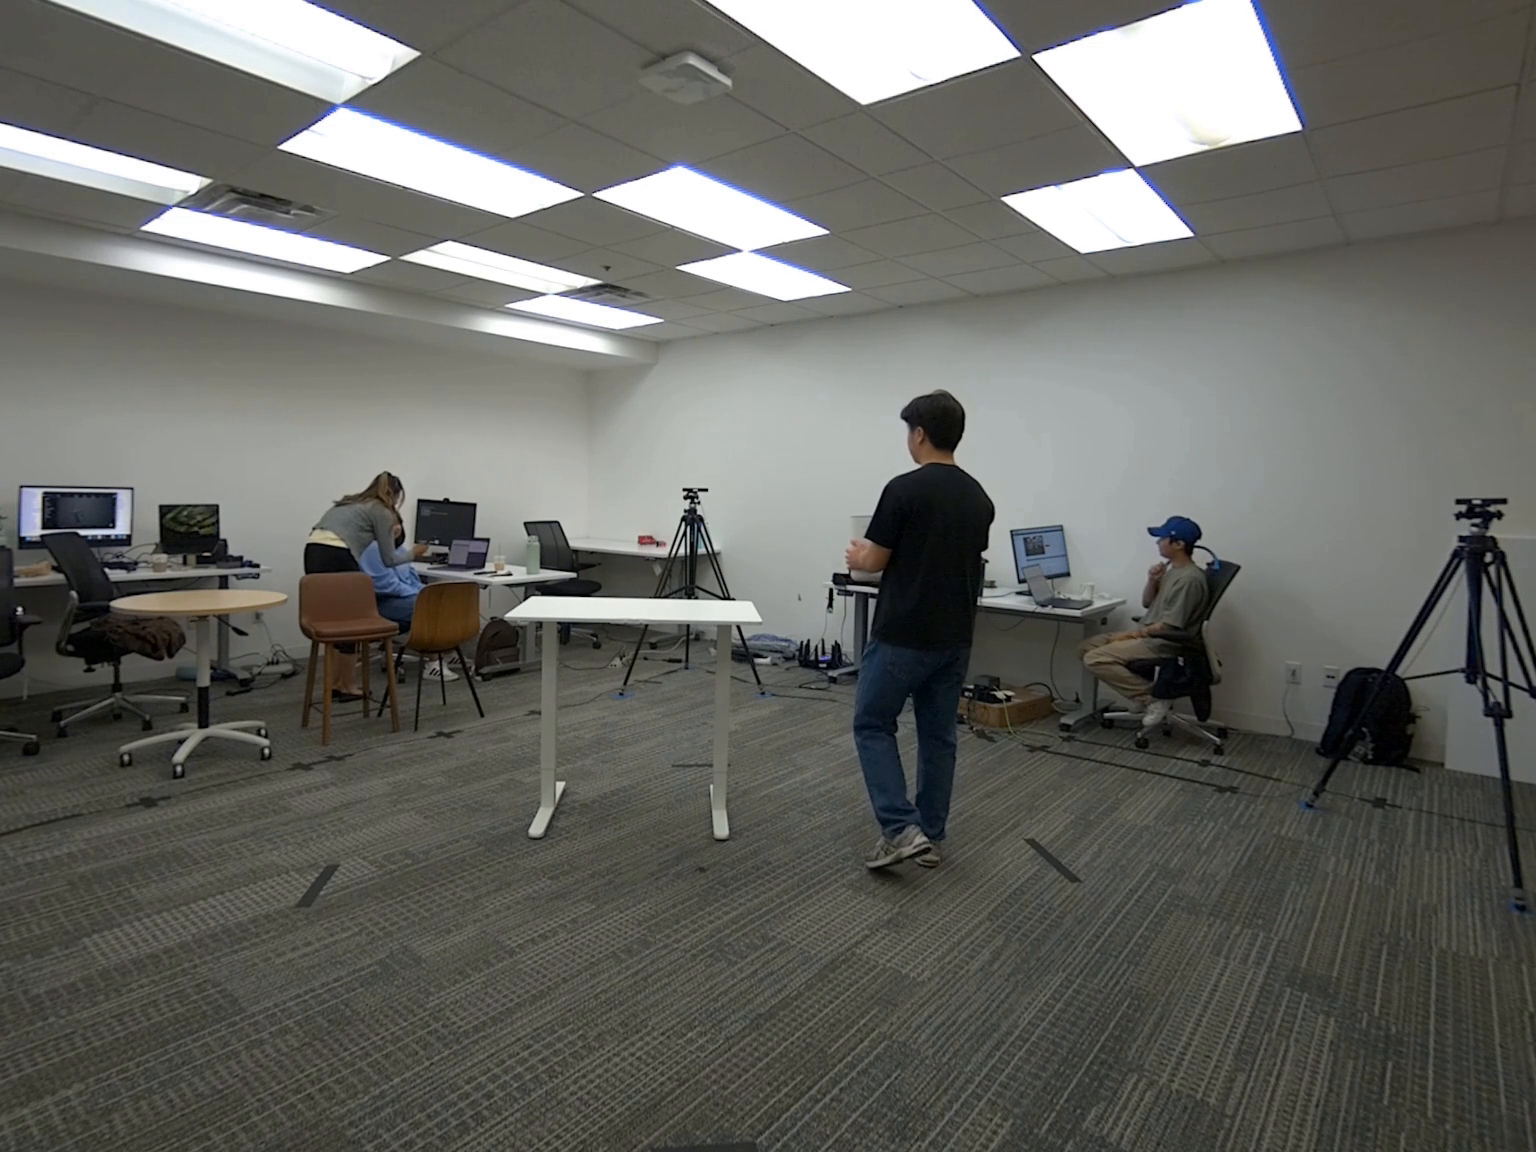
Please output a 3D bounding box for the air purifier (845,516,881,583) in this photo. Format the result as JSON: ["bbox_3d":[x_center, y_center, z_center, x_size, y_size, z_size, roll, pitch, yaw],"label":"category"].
[{"bbox_3d":[0.418,-0.114,3.501,0.173,0.266,0.169,-2,-1,12],"label":"air purifier"}]
